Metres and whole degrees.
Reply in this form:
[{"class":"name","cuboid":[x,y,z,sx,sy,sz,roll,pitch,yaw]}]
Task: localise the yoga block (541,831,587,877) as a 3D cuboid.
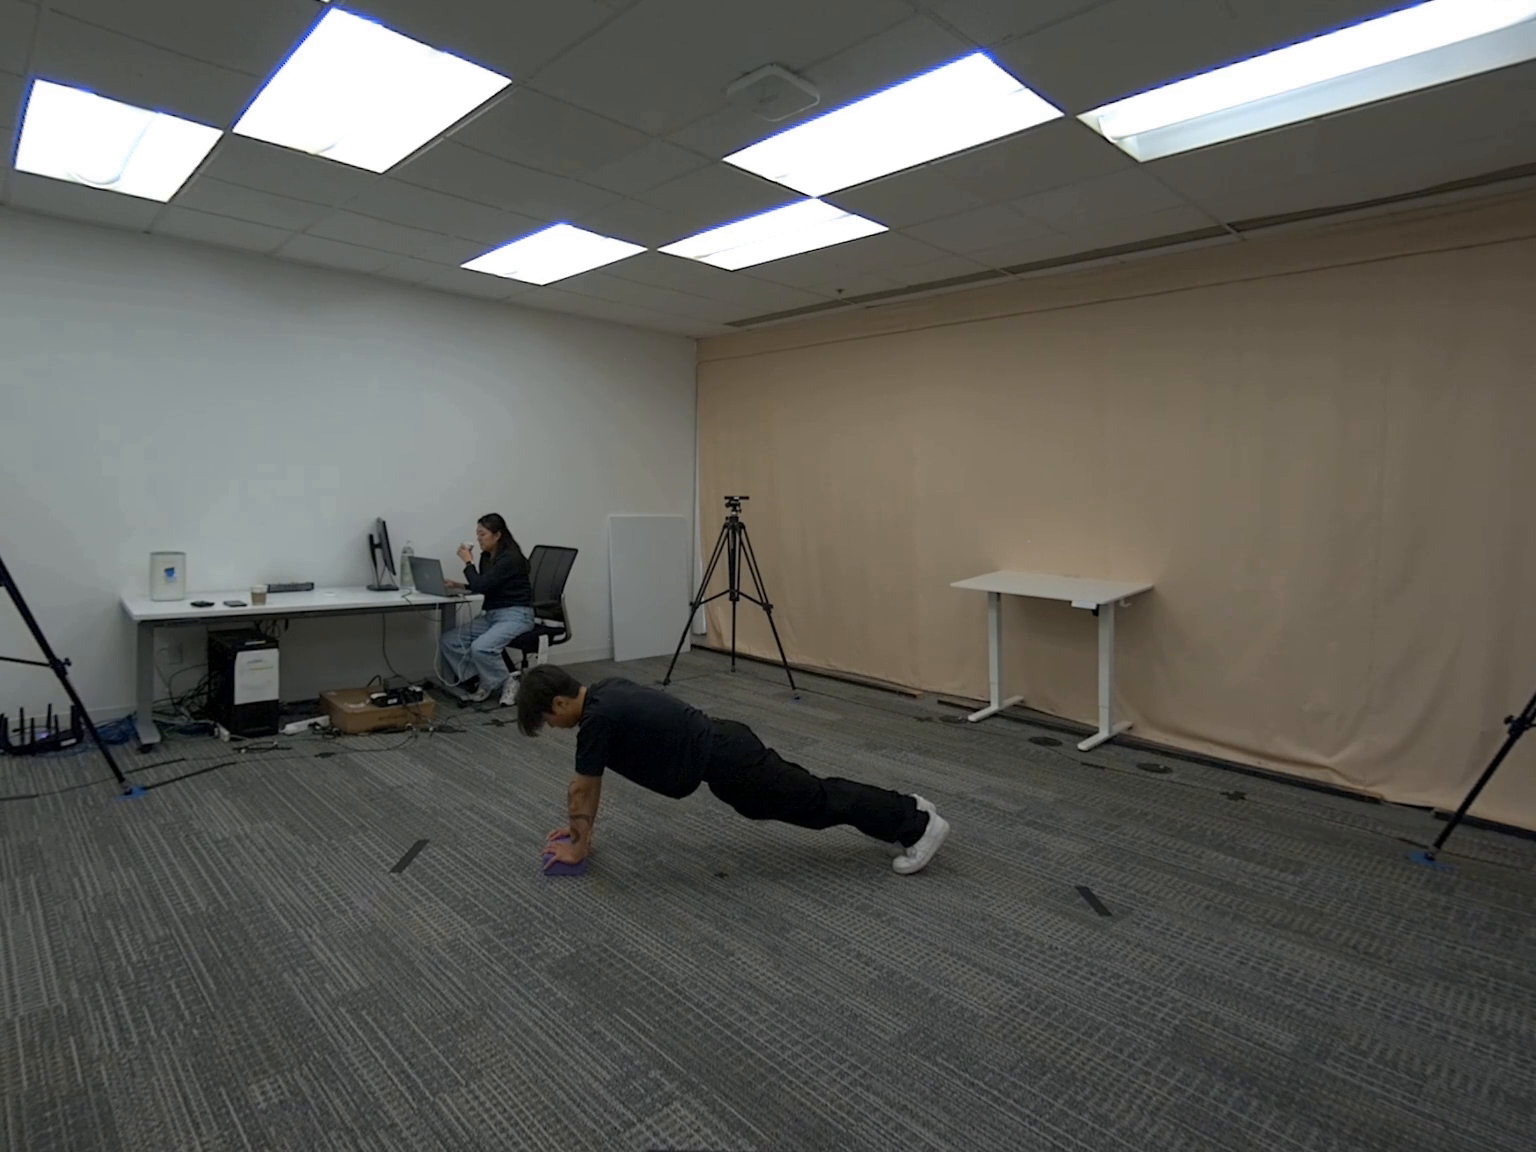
[{"class":"yoga block","cuboid":[-0.761,1.039,3.181,0.148,0.076,0.231,0,7,-6]}]
